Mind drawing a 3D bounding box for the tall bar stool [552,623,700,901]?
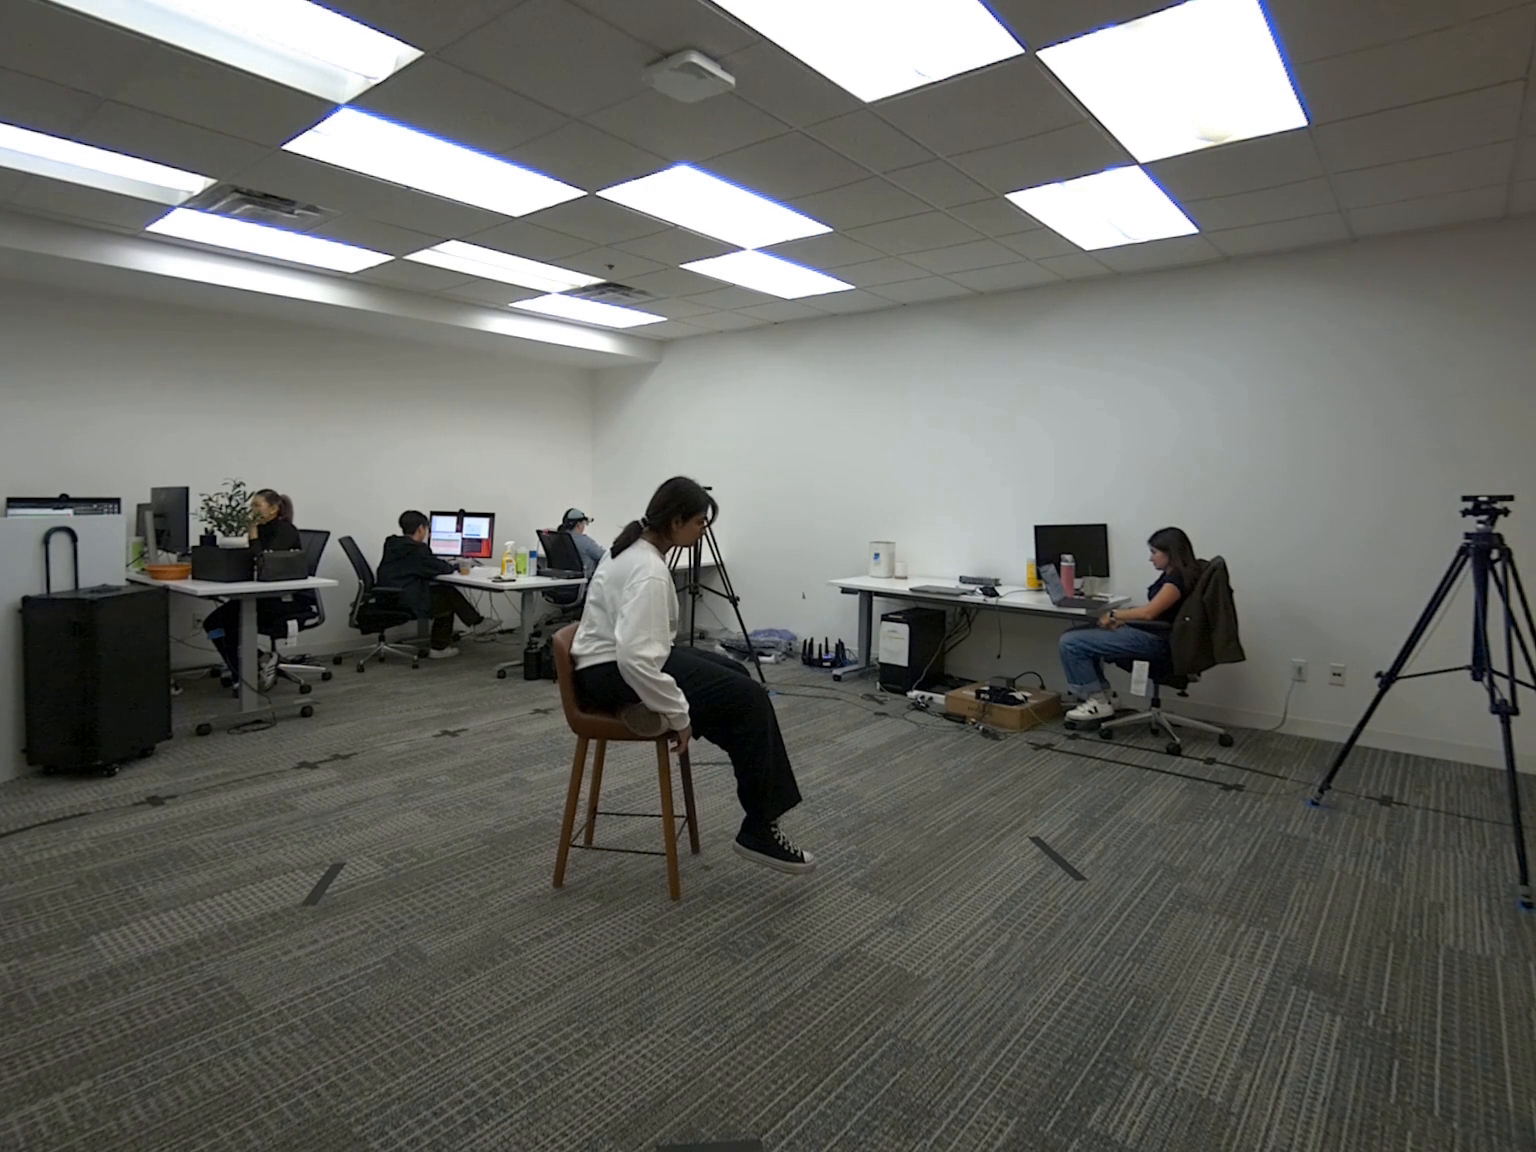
[{"bbox_3d":[-0.507,0.632,3.076,0.472,0.887,0.453,0,3,9],"label":"tall bar stool"}]
